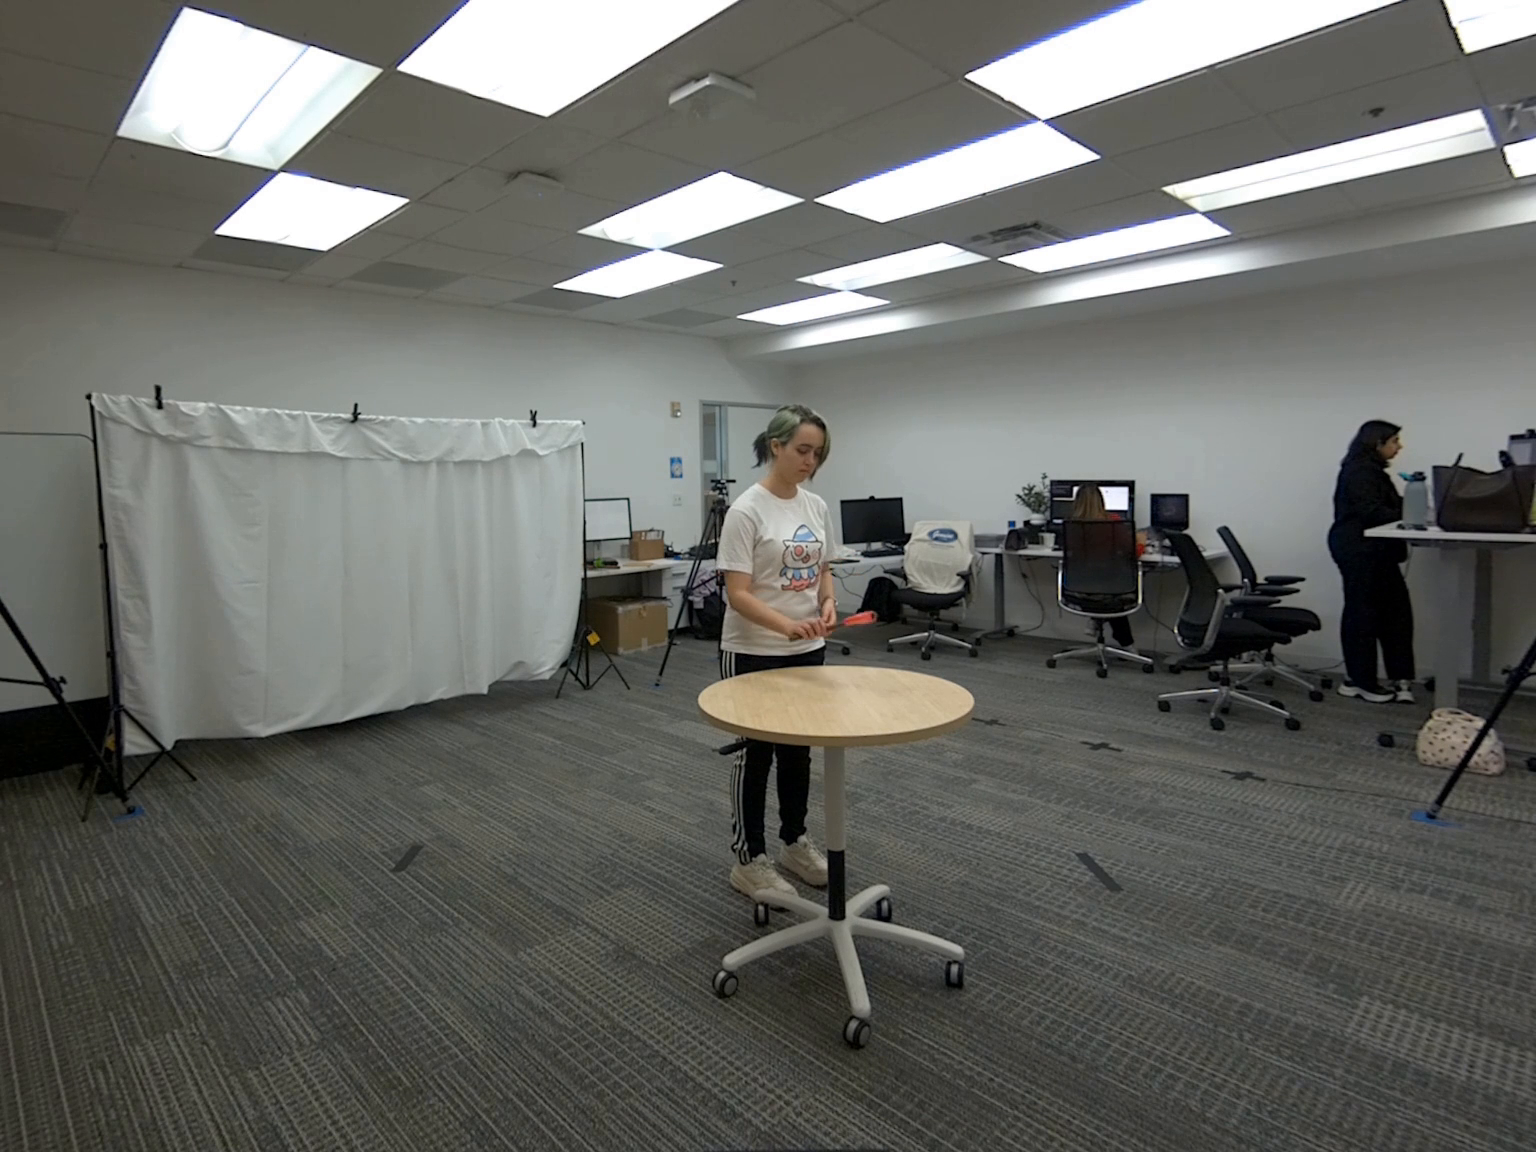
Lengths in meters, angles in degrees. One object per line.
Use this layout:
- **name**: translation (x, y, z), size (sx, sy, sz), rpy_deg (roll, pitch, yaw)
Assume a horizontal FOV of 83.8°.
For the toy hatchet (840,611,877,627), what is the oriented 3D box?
- **toy hatchet**: translation (0.181, 0.150, 2.476), size (0.272, 0.030, 0.129), rpy_deg (-16, -5, 10)
